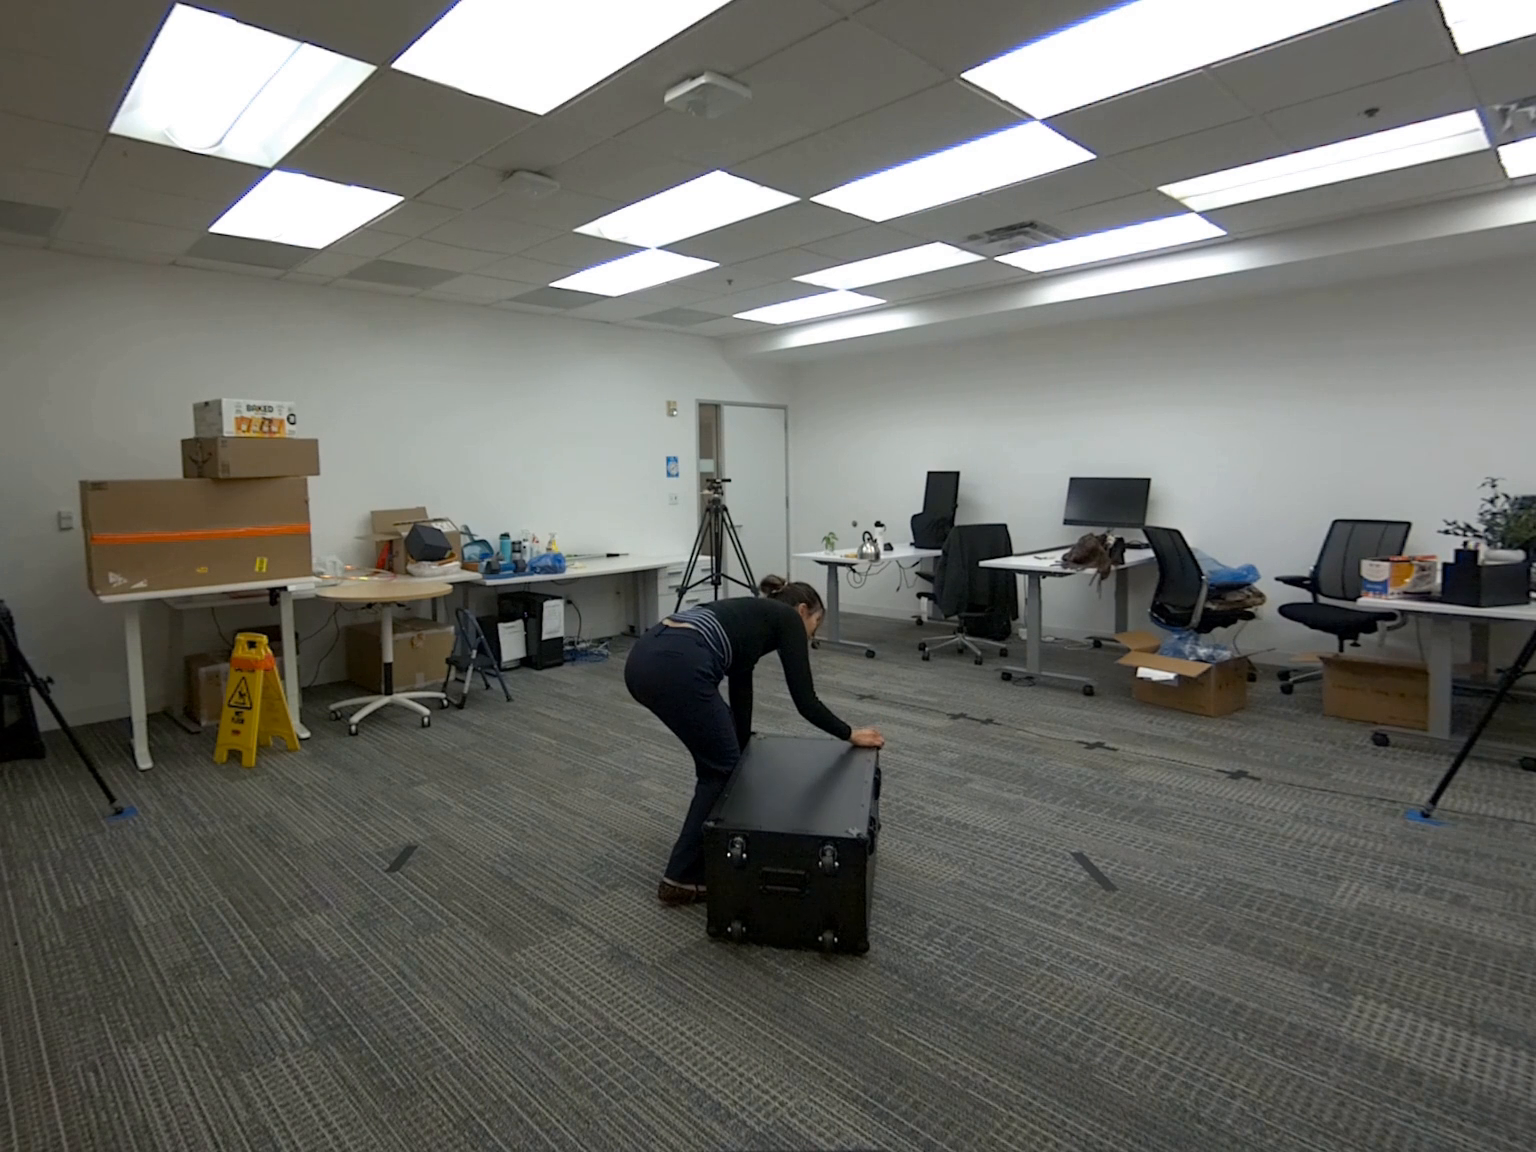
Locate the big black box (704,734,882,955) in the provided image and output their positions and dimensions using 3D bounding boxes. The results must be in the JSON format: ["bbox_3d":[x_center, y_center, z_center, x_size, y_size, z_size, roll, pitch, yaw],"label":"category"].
[{"bbox_3d":[0.108,0.858,2.841,0.527,0.393,0.858,0,9,10],"label":"big black box"}]
